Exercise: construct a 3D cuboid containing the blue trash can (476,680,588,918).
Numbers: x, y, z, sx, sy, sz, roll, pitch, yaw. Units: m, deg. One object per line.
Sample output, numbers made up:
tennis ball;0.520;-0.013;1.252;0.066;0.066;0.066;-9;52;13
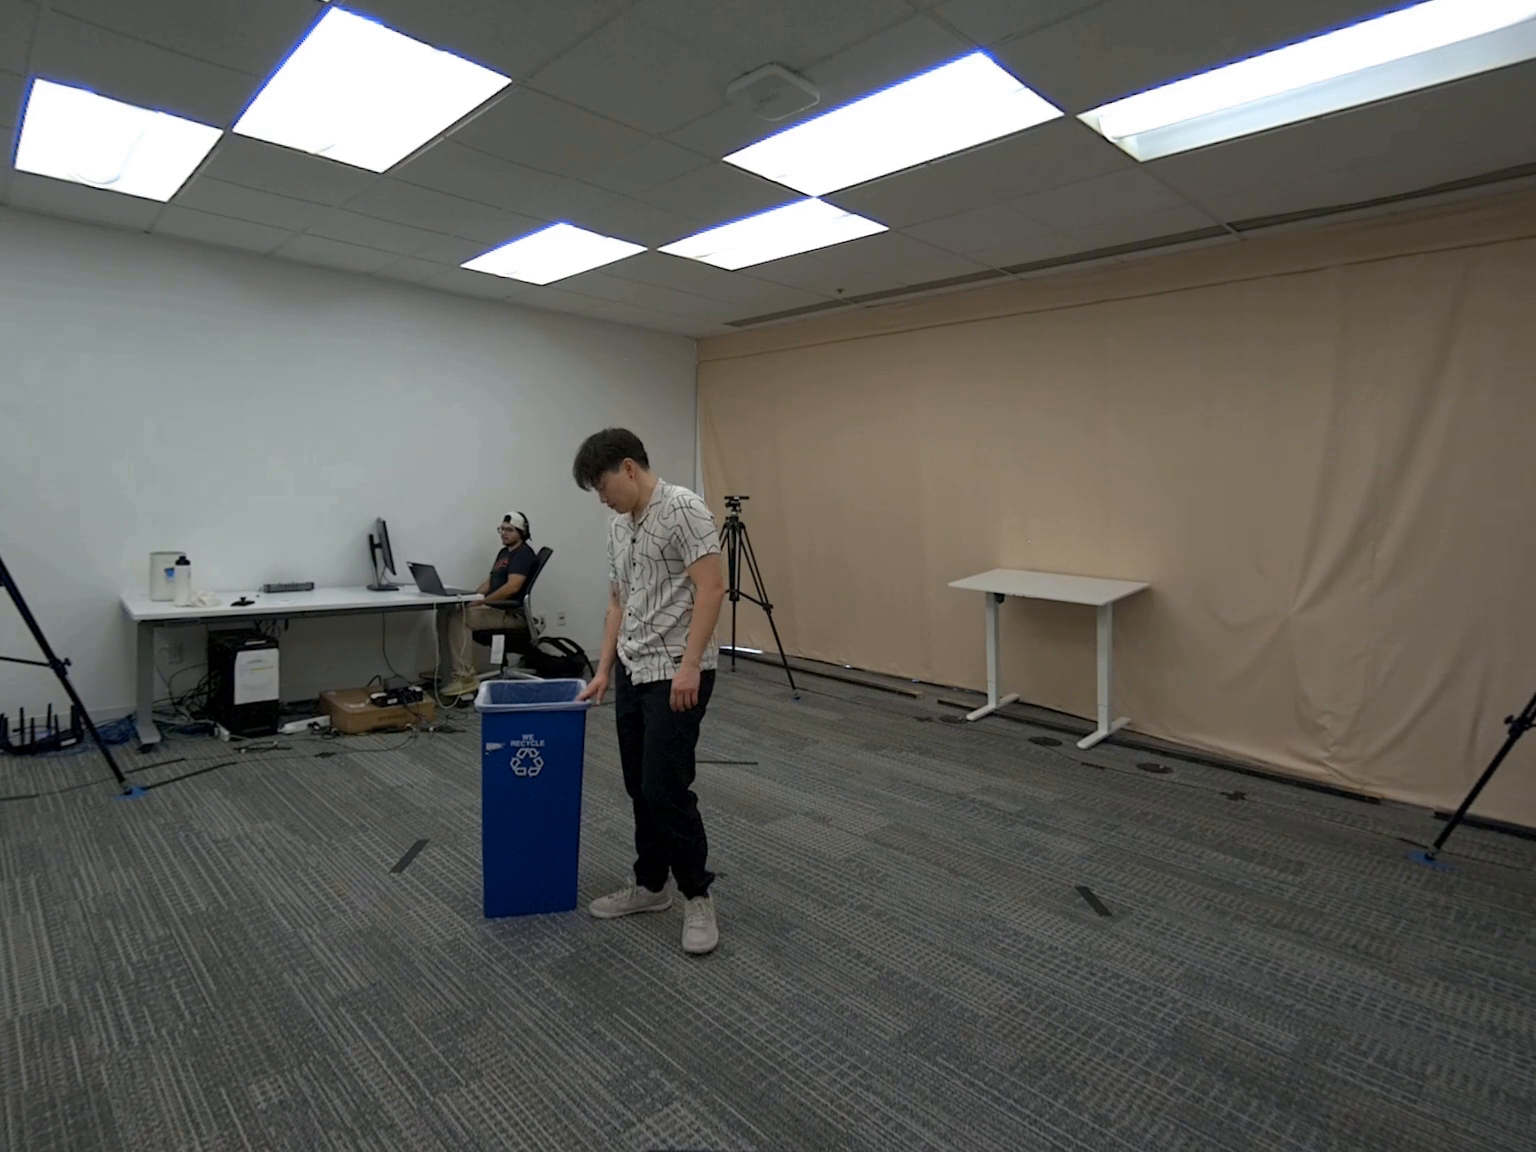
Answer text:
blue trash can;-0.814;0.750;2.911;0.370;0.711;0.384;0;4;-16
